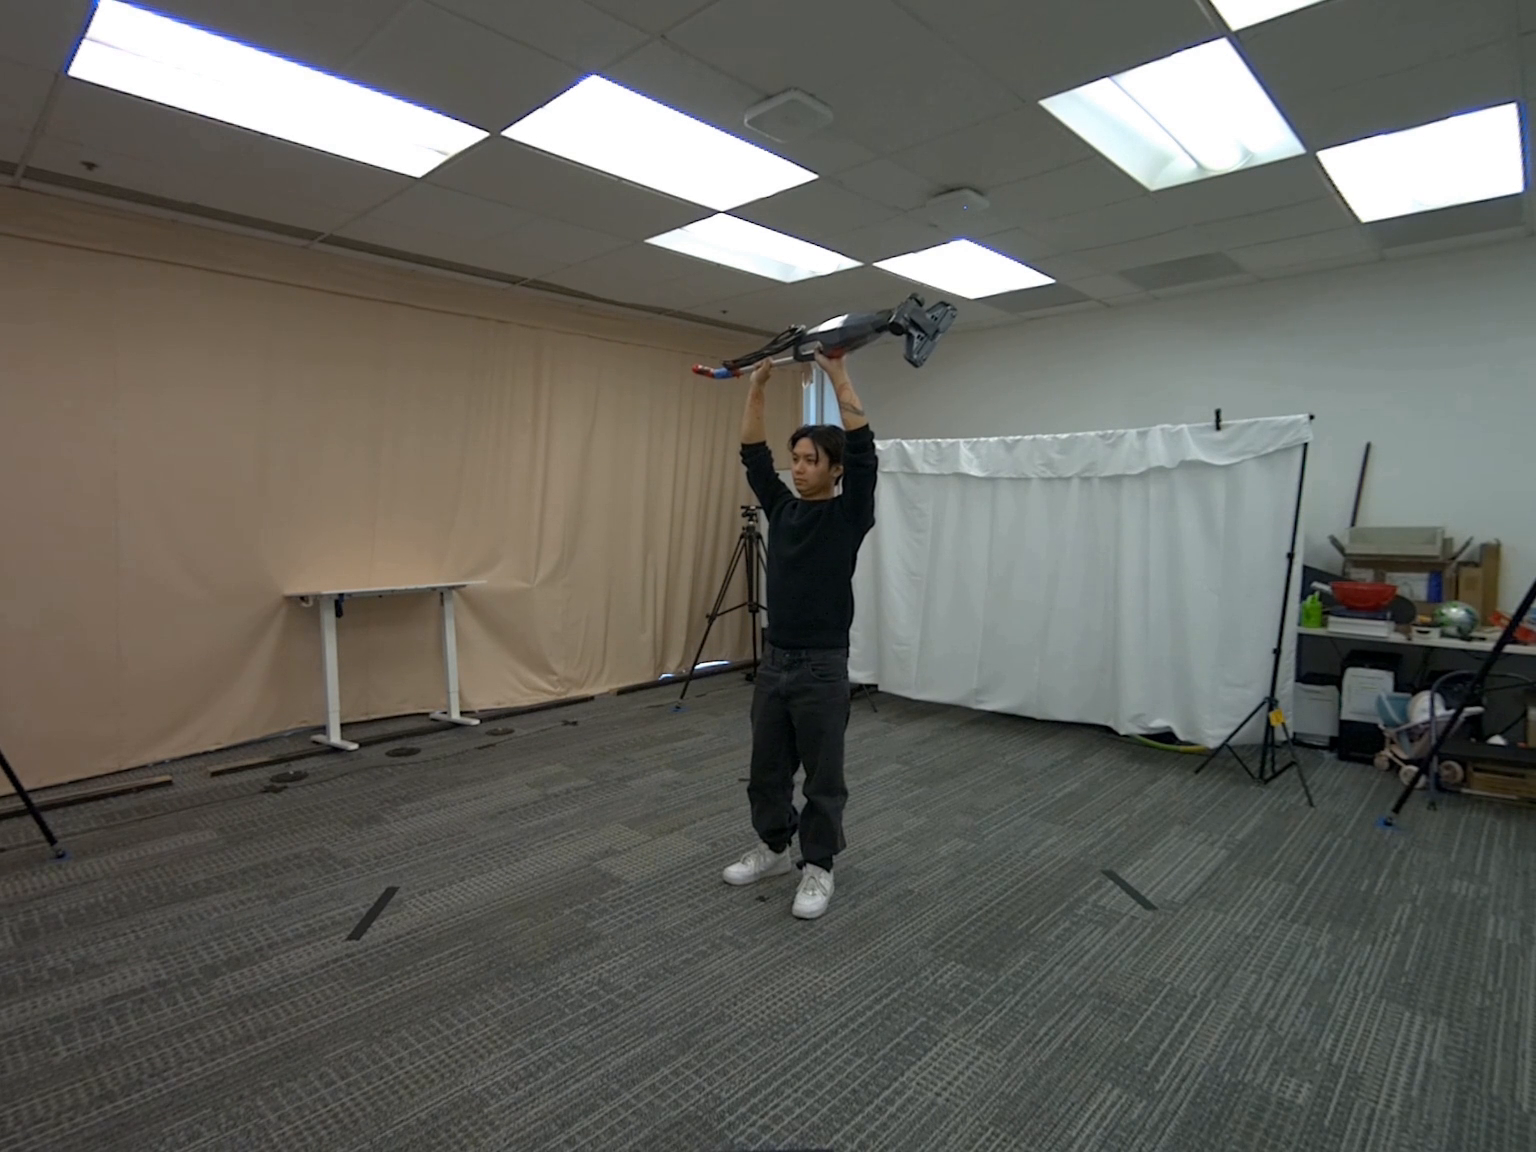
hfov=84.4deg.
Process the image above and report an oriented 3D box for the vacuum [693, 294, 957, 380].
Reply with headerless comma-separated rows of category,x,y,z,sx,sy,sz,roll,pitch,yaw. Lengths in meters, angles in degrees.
vacuum,0.085,-0.756,2.782,1.085,0.252,0.139,7,-37,48
